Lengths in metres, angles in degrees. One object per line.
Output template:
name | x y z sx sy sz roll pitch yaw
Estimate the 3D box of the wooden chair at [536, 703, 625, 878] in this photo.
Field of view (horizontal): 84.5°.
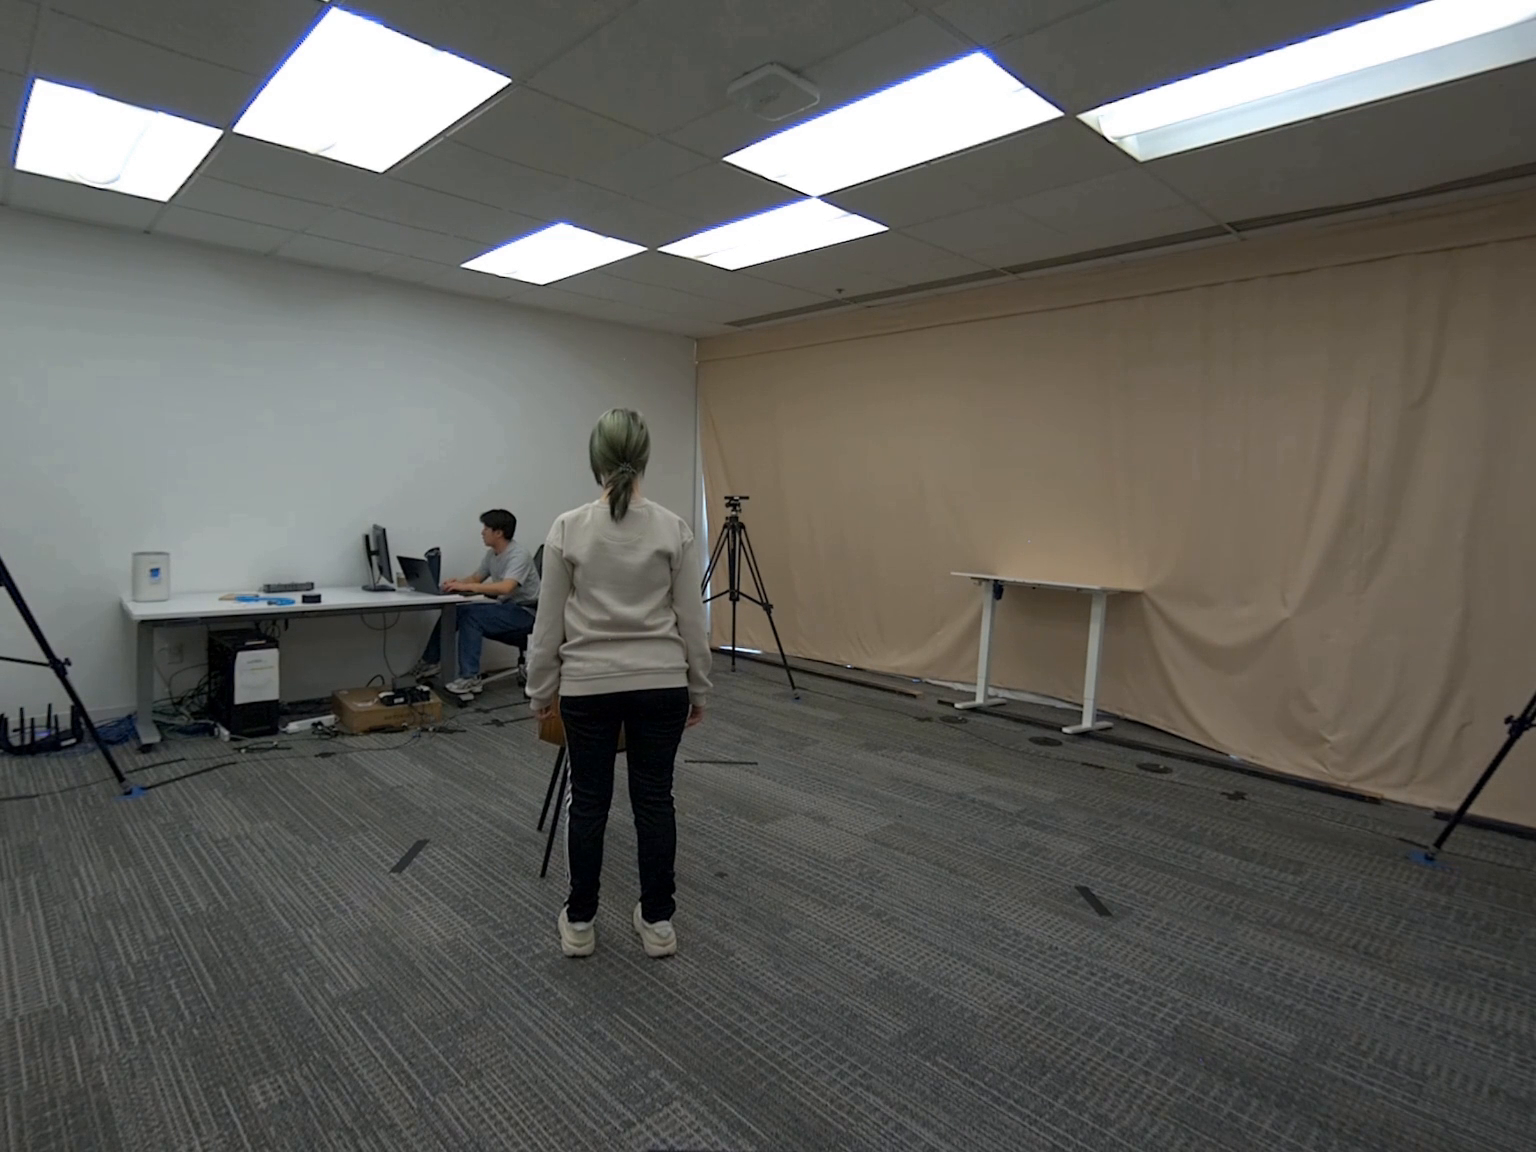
wooden chair | -0.661 0.652 3.295 0.472 0.873 0.532 0 8 -16
